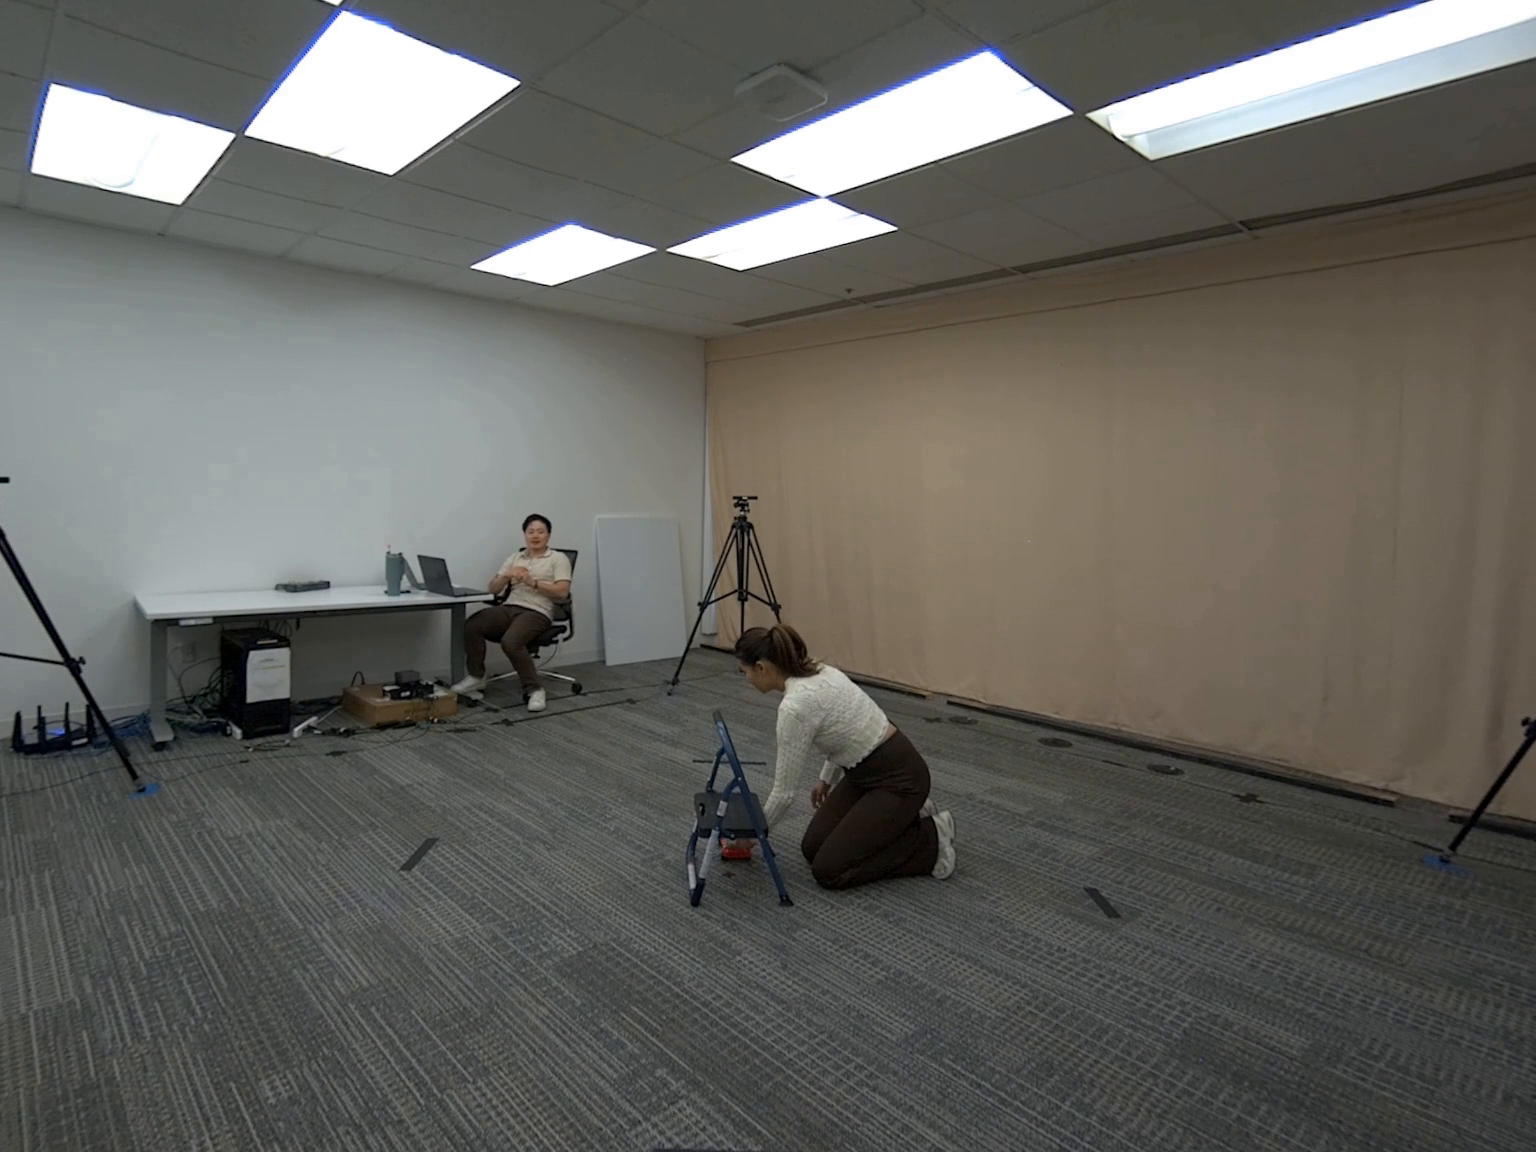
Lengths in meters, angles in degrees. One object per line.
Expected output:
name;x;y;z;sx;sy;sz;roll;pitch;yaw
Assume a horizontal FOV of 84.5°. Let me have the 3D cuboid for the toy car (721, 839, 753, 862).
toy car;-0.137;1.055;3.333;0.130;0.082;0.258;1;12;-6
